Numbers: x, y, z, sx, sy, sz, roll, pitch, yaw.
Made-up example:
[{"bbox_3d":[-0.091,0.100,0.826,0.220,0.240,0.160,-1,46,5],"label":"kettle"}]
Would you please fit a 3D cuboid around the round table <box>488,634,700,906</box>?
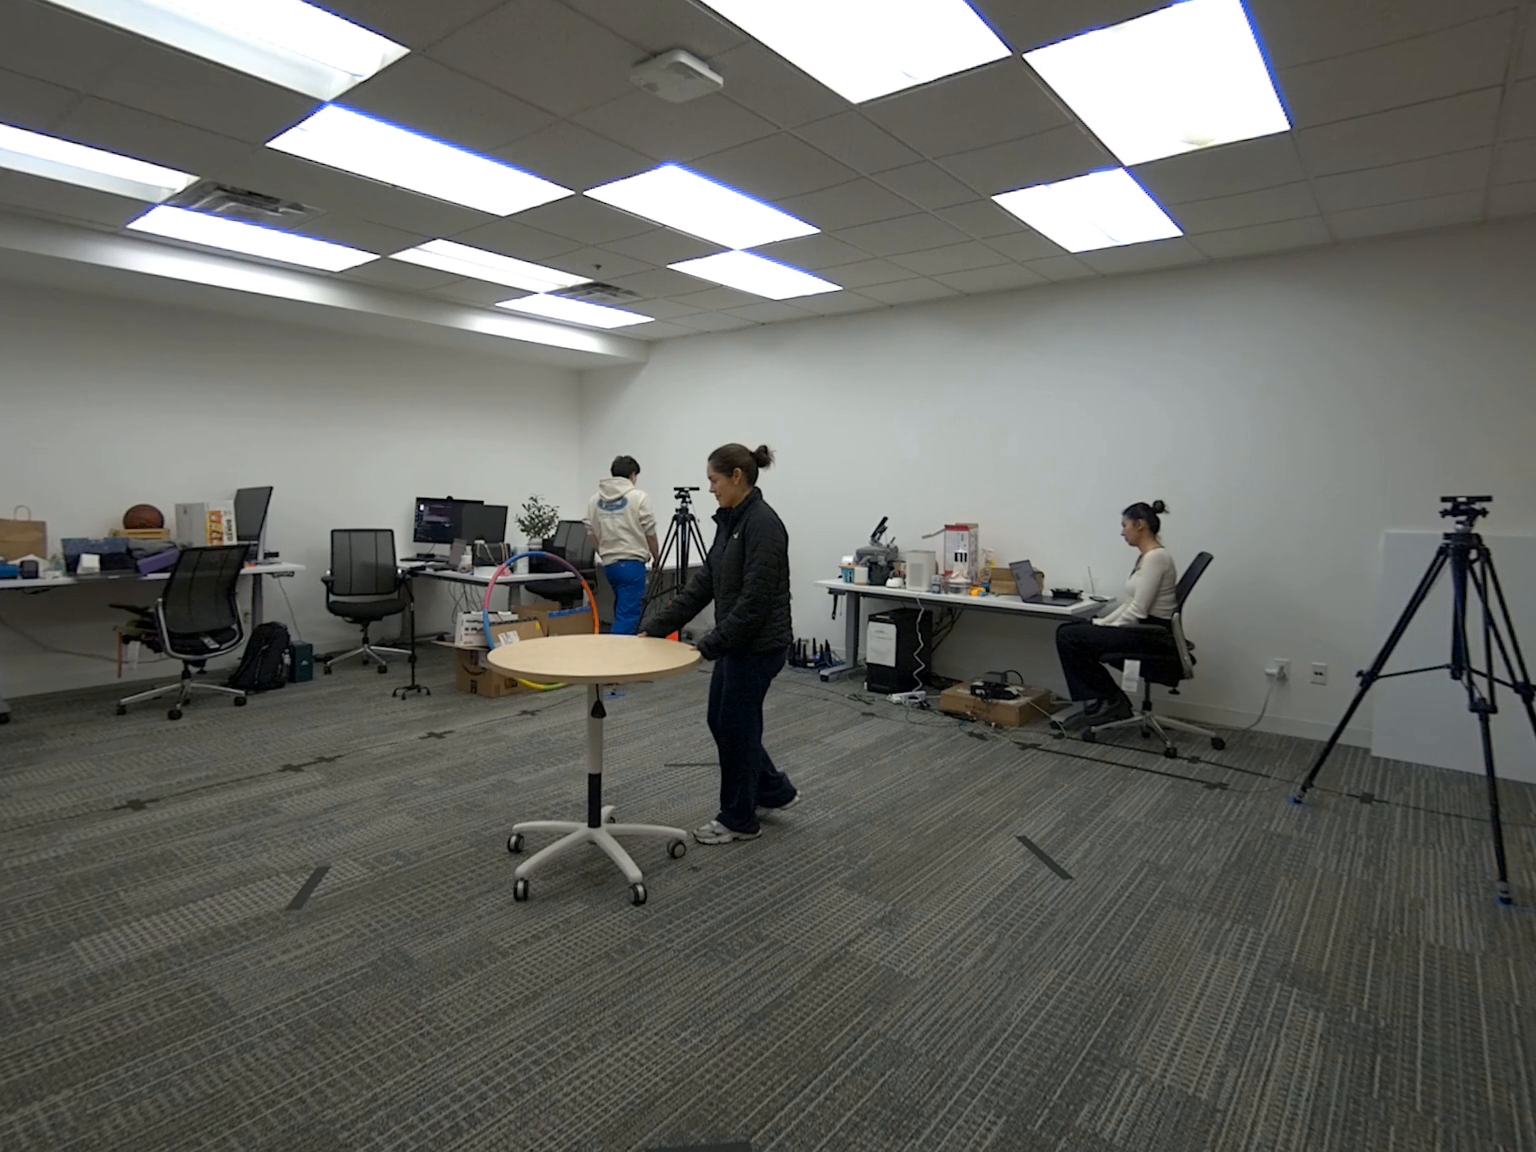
[{"bbox_3d":[-0.611,0.666,3.133,0.784,0.784,0.789,1,4,-2],"label":"round table"}]
